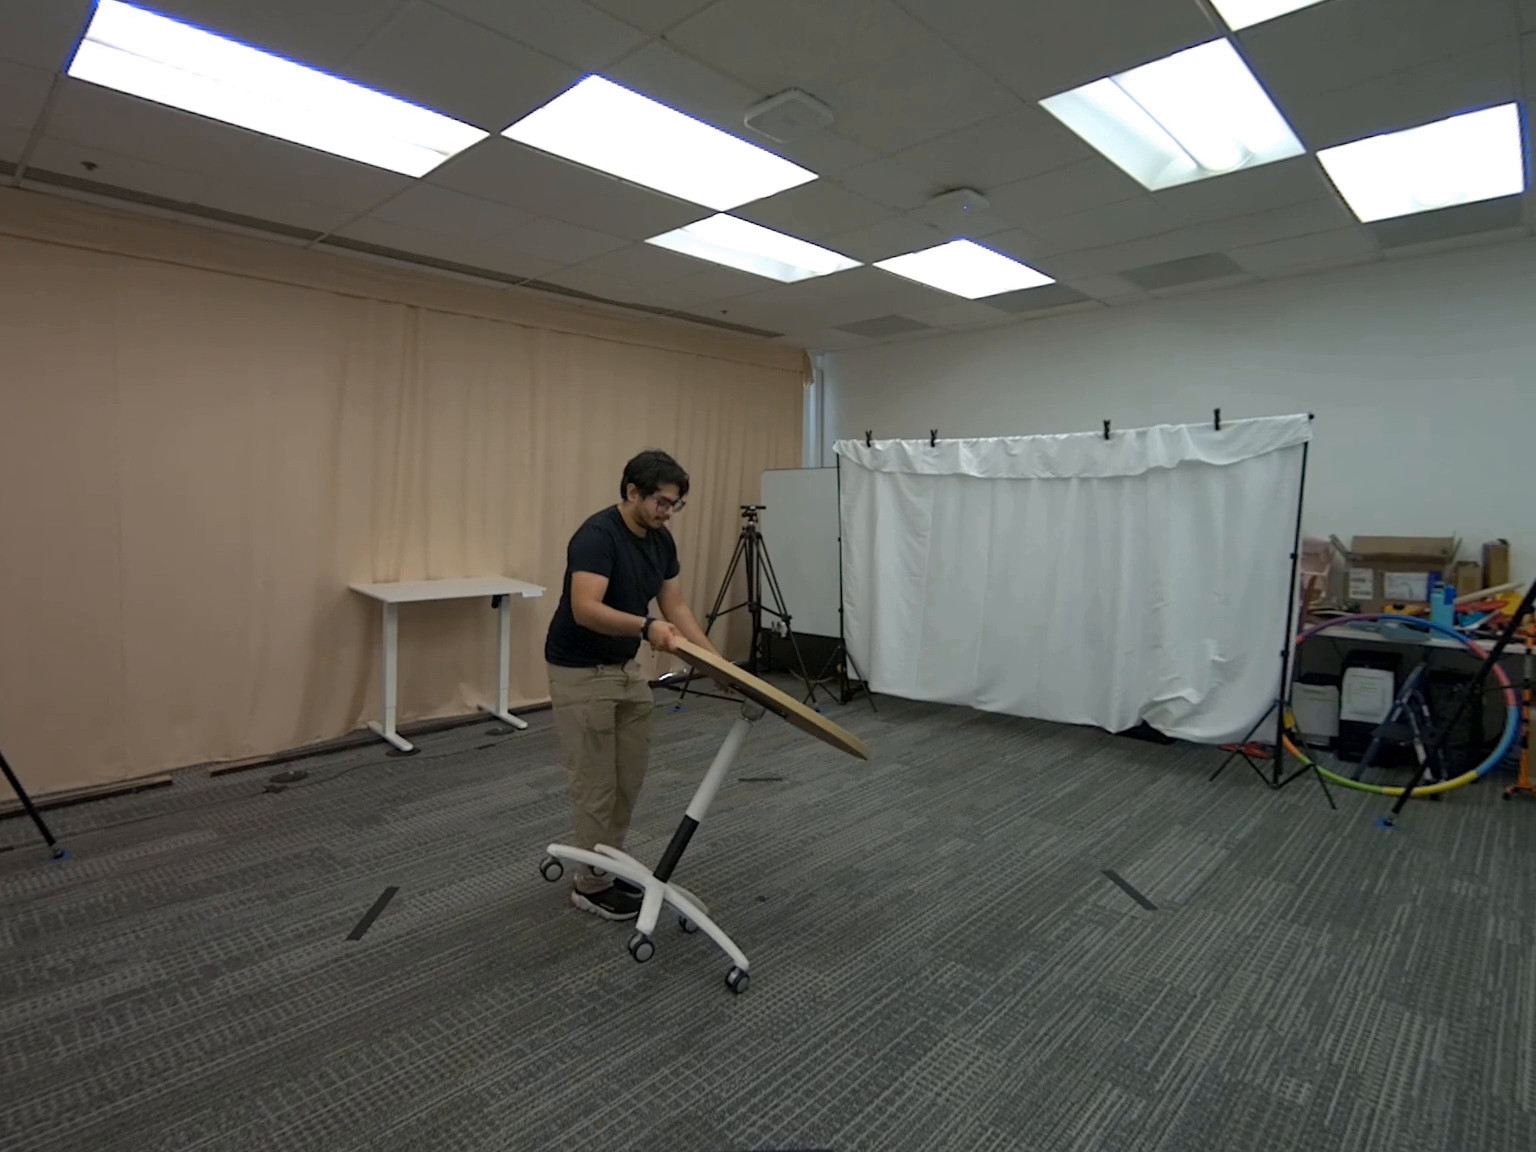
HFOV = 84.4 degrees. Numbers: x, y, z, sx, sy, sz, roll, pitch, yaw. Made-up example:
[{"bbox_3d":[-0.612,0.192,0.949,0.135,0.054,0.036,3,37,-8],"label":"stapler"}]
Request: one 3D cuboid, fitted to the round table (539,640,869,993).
[{"bbox_3d":[-0.195,0.705,2.573,0.790,0.786,0.781,29,-10,3],"label":"round table"}]
